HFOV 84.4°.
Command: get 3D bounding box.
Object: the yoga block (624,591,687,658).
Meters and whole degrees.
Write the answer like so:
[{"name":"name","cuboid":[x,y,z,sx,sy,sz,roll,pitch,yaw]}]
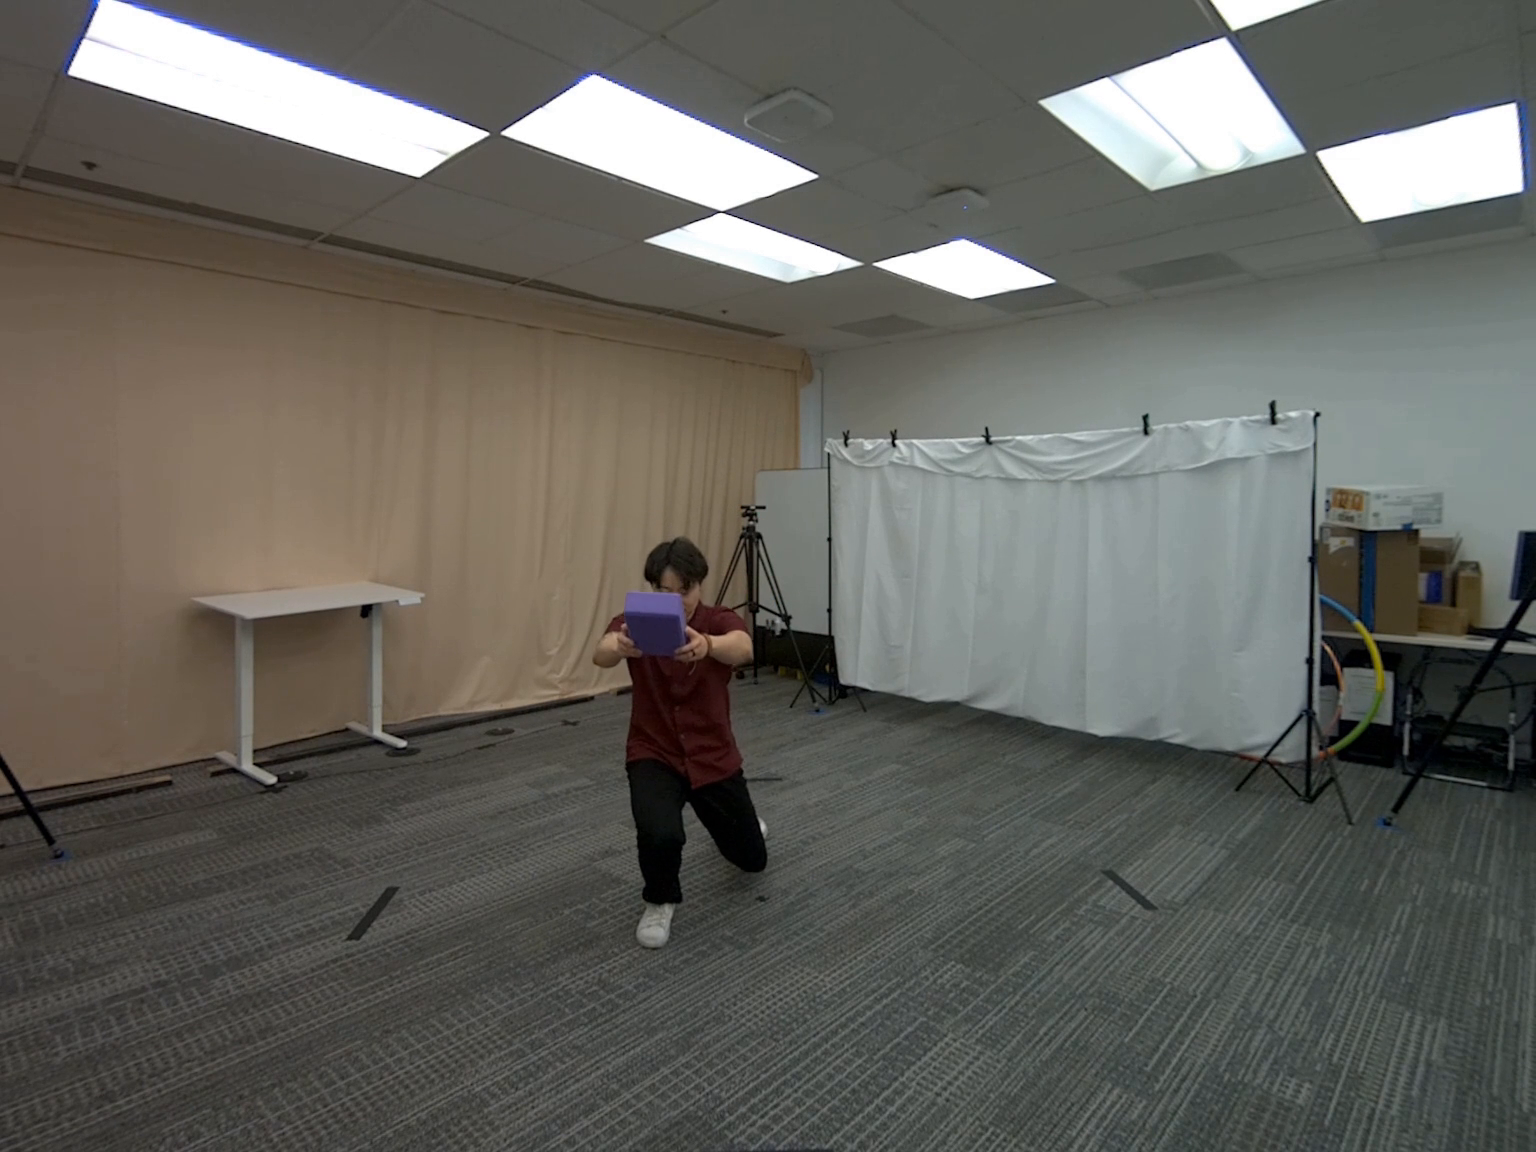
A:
[{"name":"yoga block","cuboid":[-0.307,0.129,2.283,0.150,0.077,0.224,2,-32,7]}]
